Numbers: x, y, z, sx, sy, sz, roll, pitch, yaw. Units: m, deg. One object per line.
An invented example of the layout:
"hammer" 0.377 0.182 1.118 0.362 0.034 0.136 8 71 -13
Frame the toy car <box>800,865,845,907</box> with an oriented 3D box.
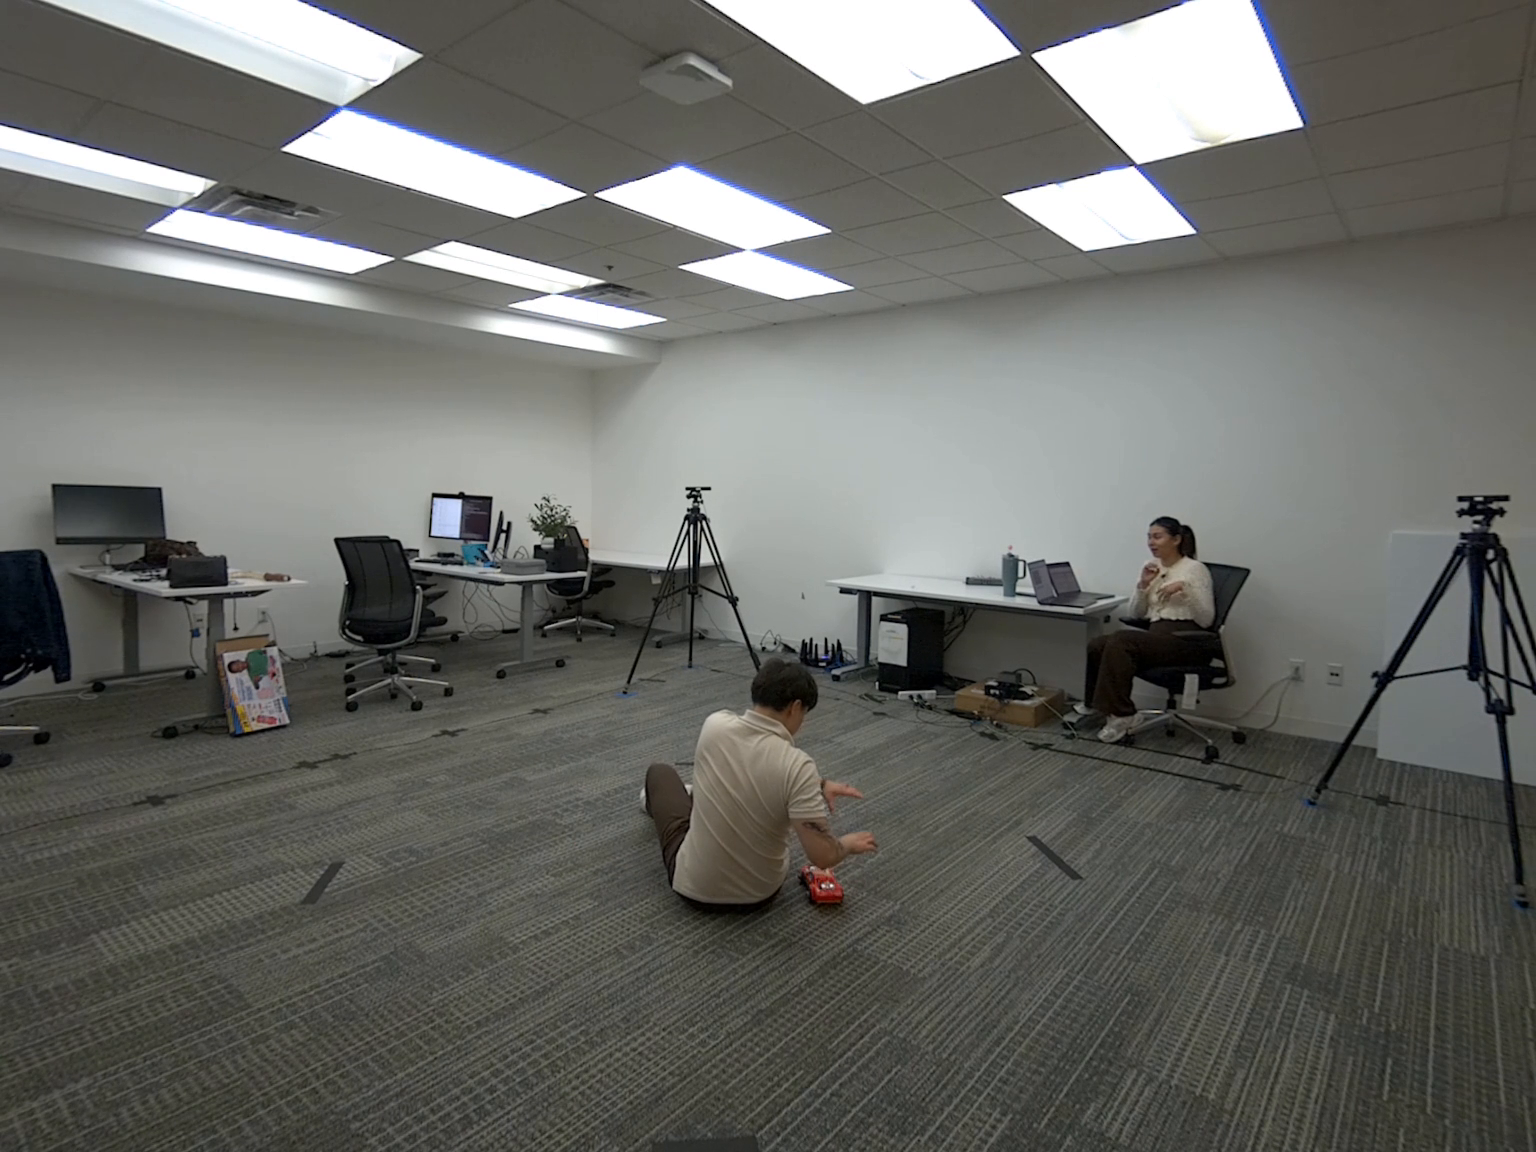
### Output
"toy car" 0.179 1.063 2.916 0.129 0.084 0.255 1 -6 -9
